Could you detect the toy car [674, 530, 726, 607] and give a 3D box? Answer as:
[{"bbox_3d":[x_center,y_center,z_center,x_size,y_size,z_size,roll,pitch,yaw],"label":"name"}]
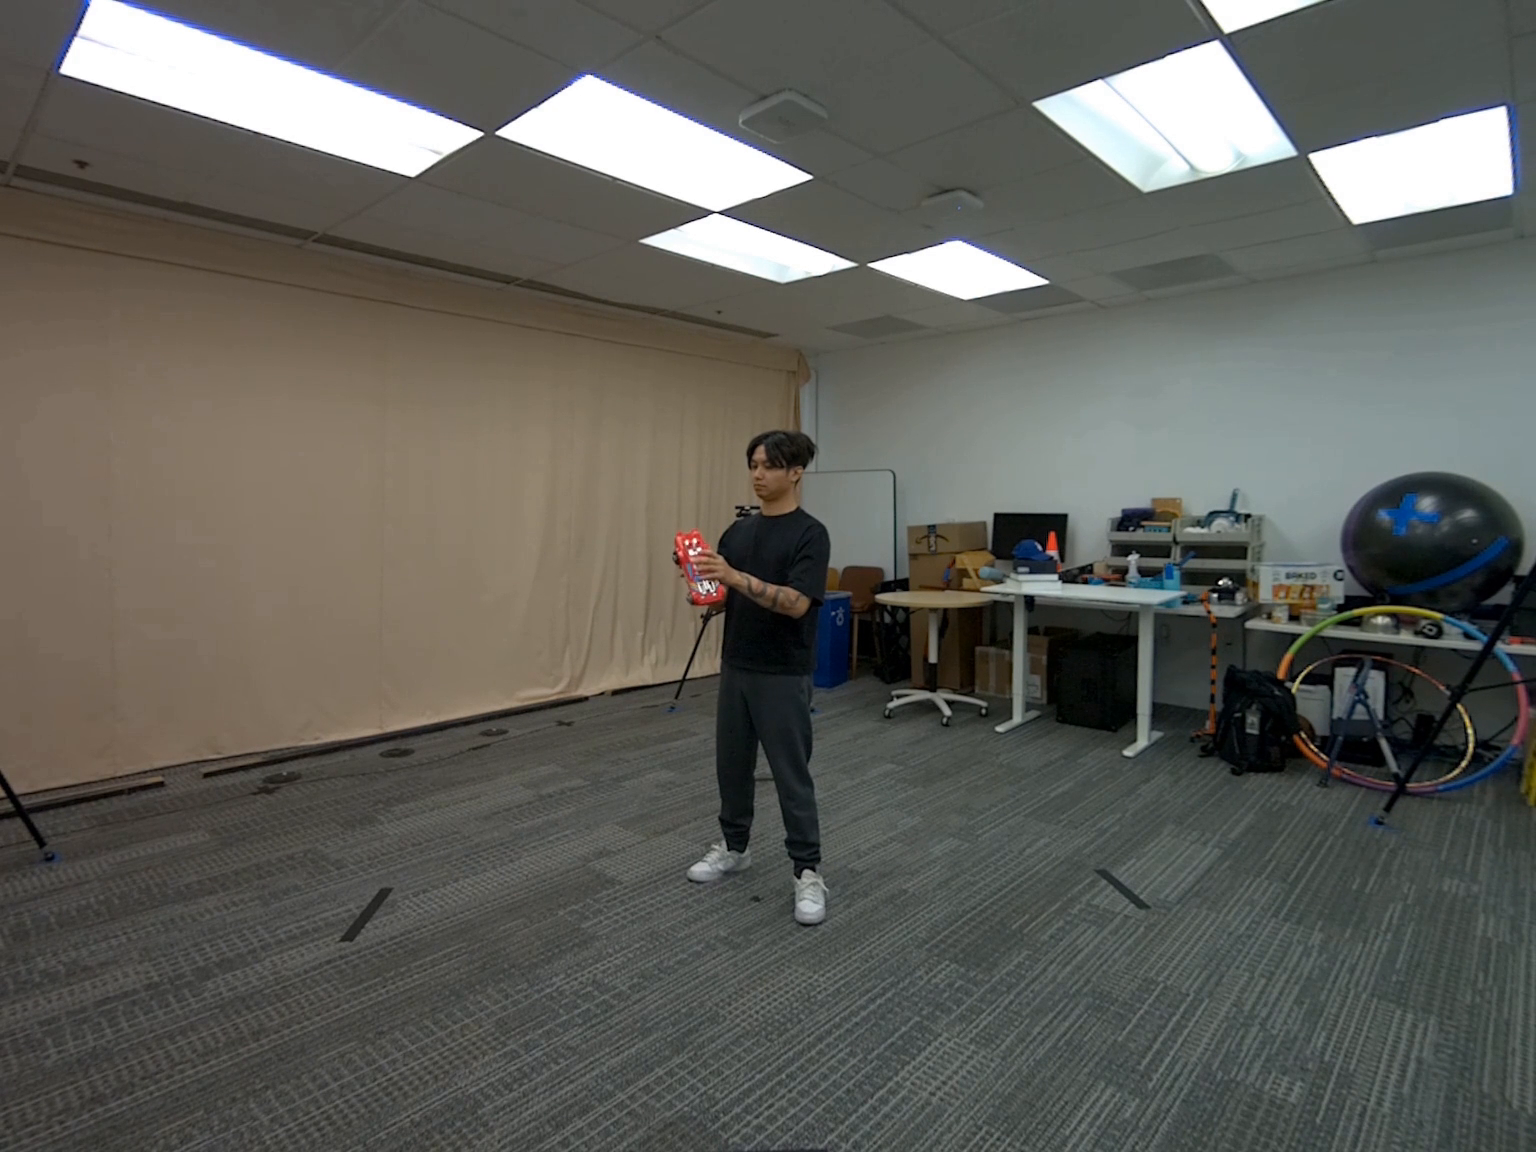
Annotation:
[{"bbox_3d":[-0.222,-0.029,2.695,0.128,0.257,0.084,-13,-10,-22],"label":"toy car"}]
